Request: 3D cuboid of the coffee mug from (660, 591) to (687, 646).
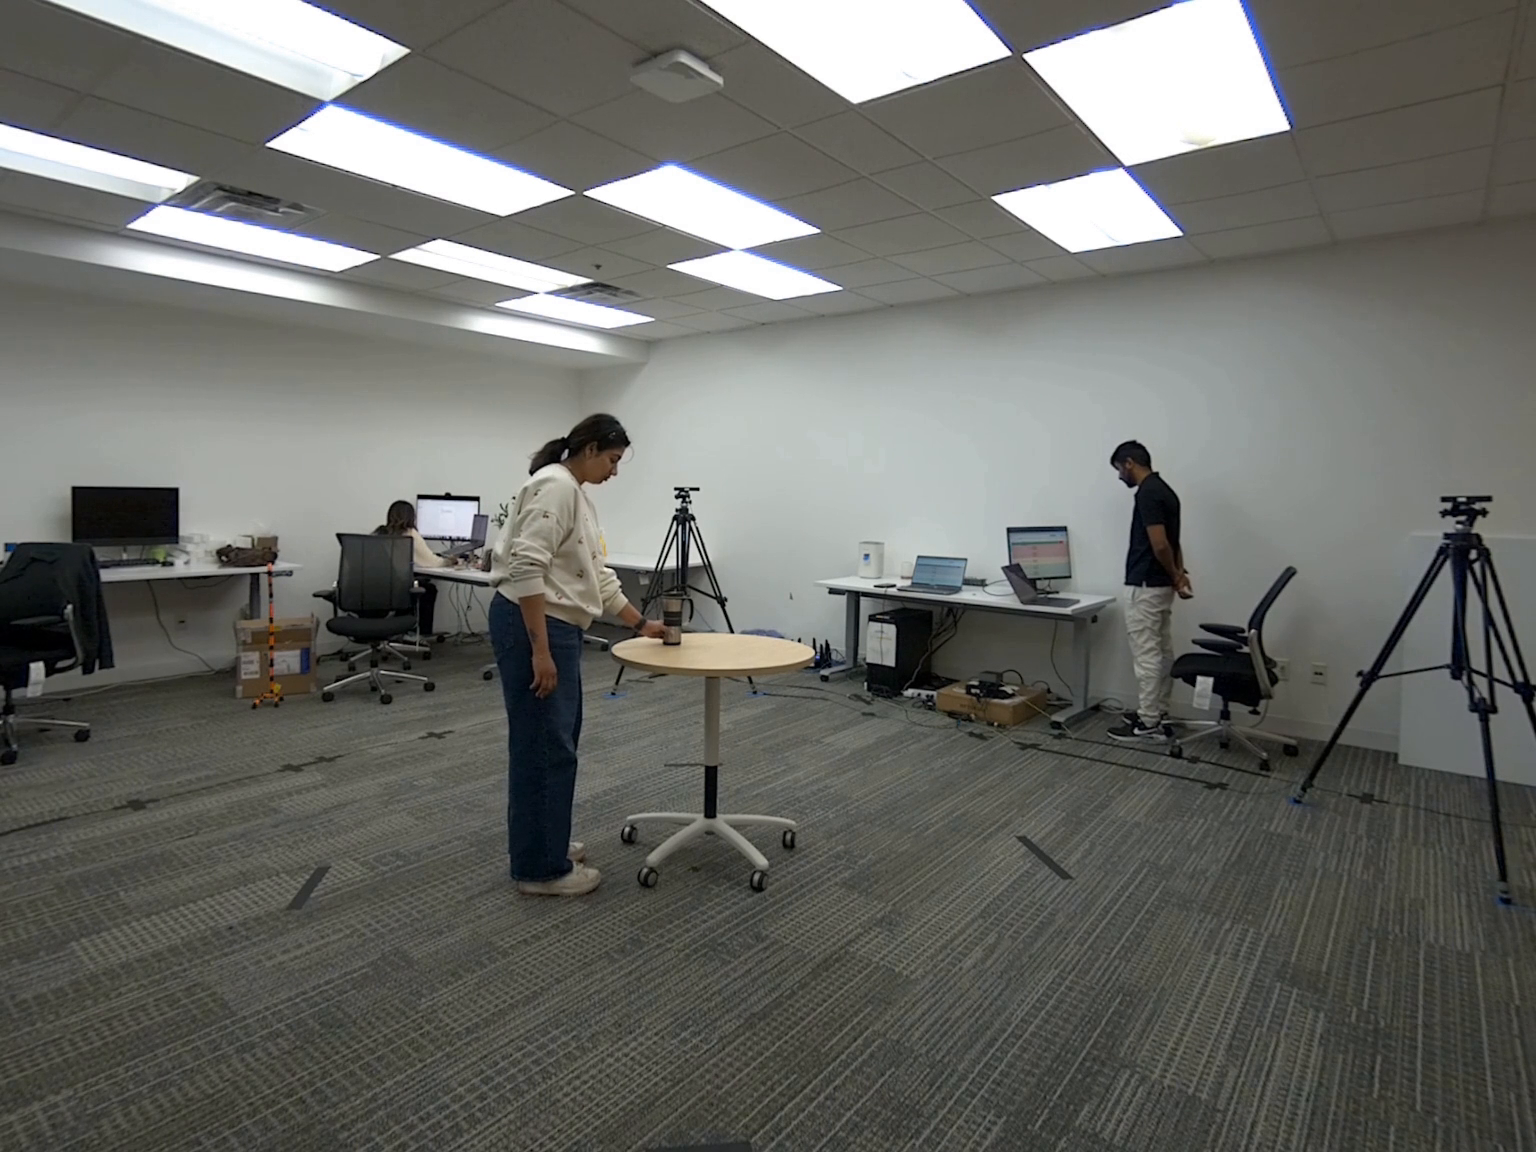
[{"bbox_3d":[-0.364,0.167,3.291,0.125,0.203,0.085,-1,-2,27],"label":"coffee mug"}]
